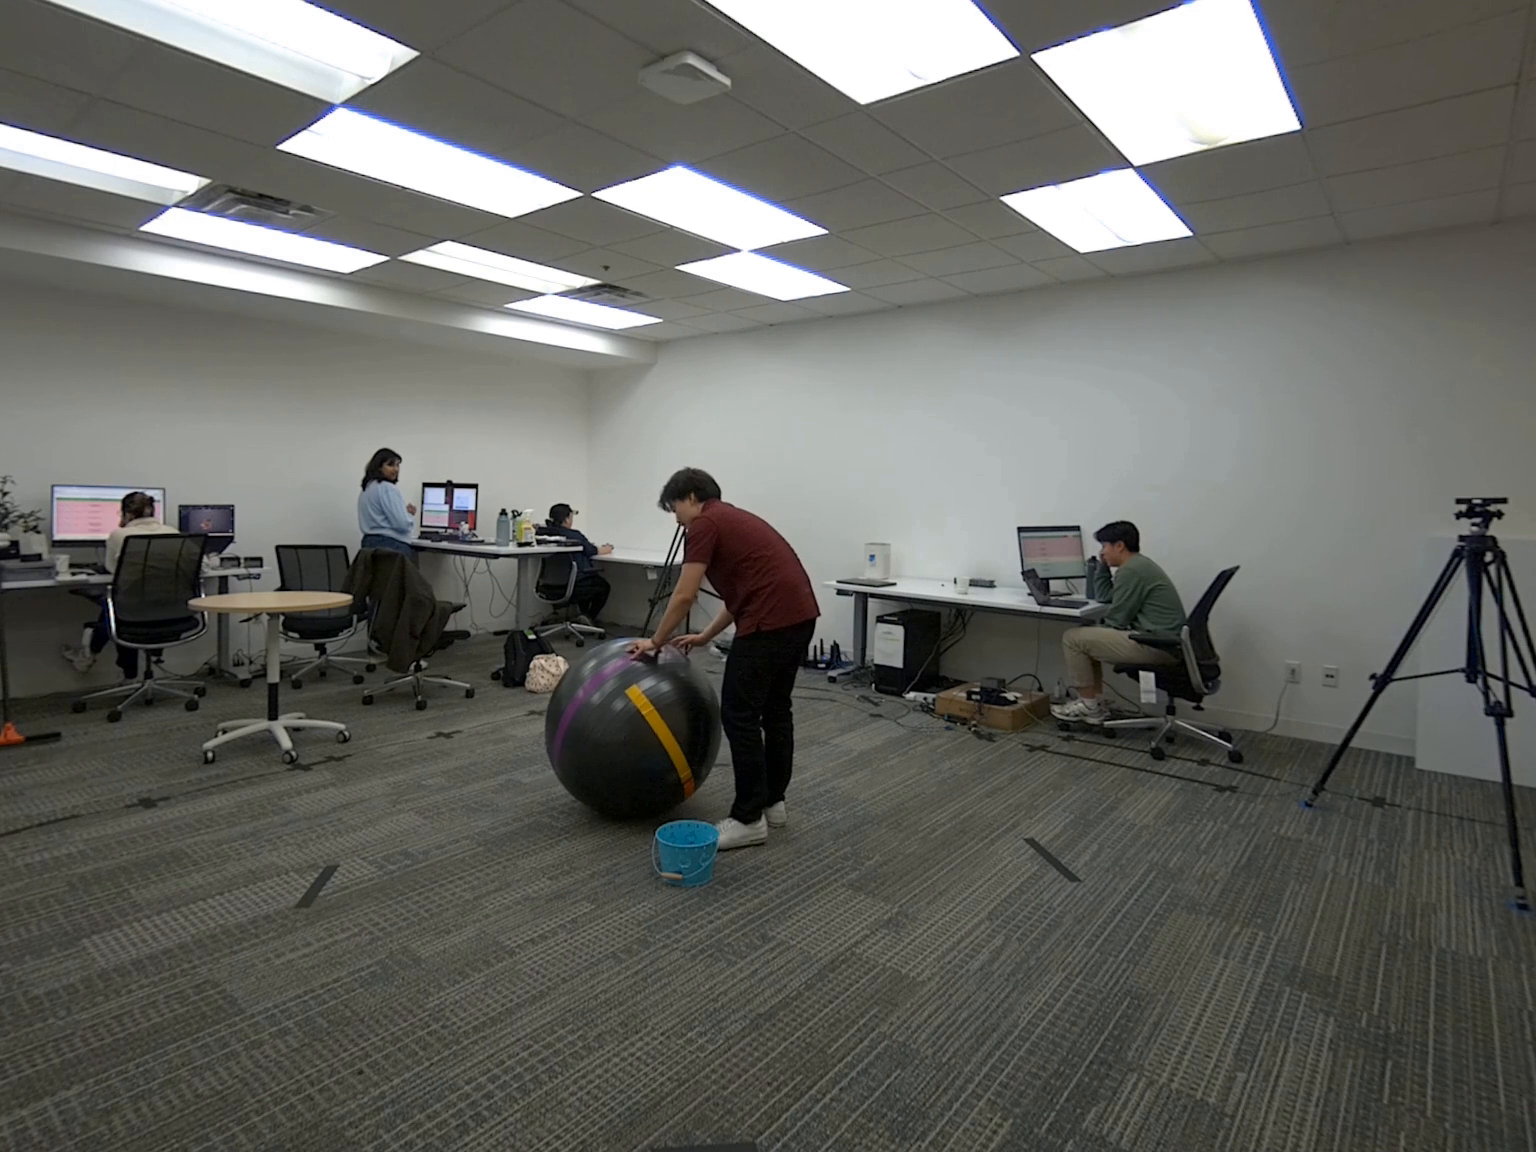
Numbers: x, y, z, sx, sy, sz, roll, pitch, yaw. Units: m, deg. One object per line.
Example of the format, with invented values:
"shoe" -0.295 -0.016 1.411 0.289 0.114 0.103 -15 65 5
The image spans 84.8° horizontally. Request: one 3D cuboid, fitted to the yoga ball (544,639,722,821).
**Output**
"yoga ball" -0.593 0.655 3.668 0.757 0.755 0.762 1 4 -2
